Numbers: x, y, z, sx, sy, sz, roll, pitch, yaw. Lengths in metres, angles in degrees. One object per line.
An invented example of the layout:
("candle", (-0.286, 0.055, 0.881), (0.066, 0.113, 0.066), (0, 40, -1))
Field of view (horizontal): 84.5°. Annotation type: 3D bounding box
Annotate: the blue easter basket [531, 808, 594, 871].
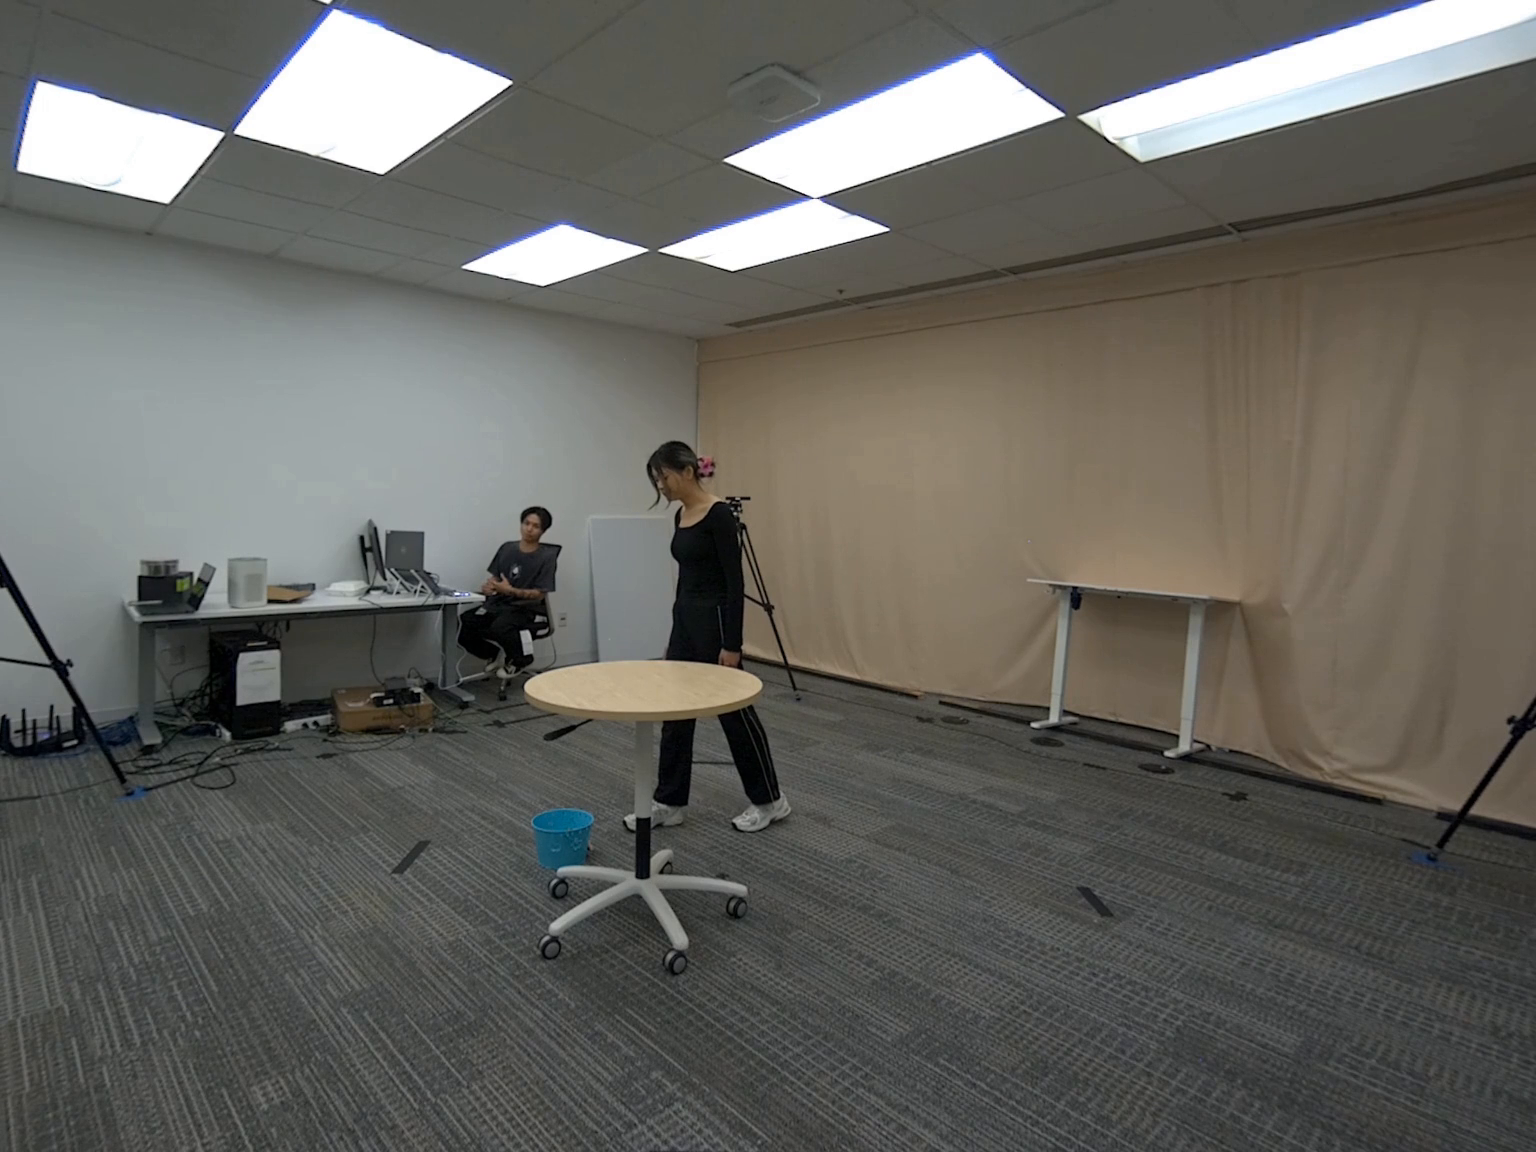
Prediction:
("blue easter basket", (-0.789, 1.007, 3.209), (0.243, 0.155, 0.244), (1, 5, -1))
